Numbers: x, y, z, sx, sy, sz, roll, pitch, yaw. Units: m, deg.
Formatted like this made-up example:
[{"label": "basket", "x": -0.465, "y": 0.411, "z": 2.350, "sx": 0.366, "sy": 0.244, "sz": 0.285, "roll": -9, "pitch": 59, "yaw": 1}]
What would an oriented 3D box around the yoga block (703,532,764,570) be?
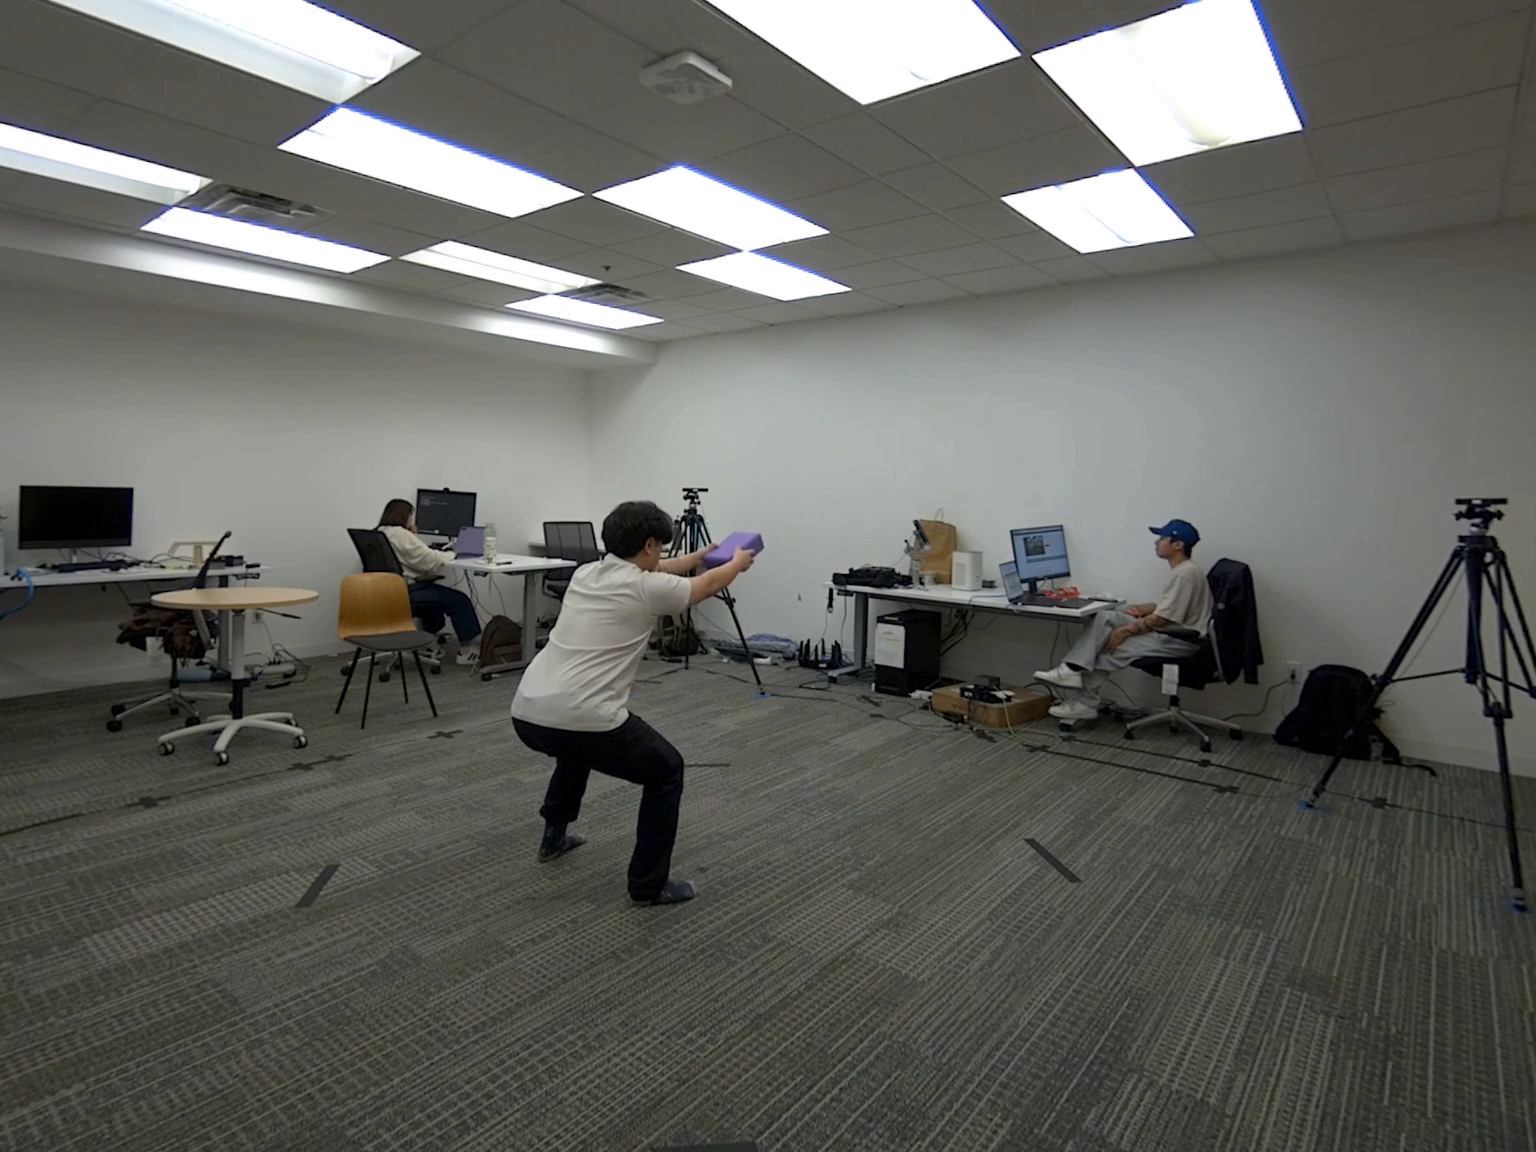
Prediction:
[{"label": "yoga block", "x": -0.149, "y": -0.102, "z": 3.502, "sx": 0.154, "sy": 0.074, "sz": 0.227, "roll": 6, "pitch": 32, "yaw": 39}]
